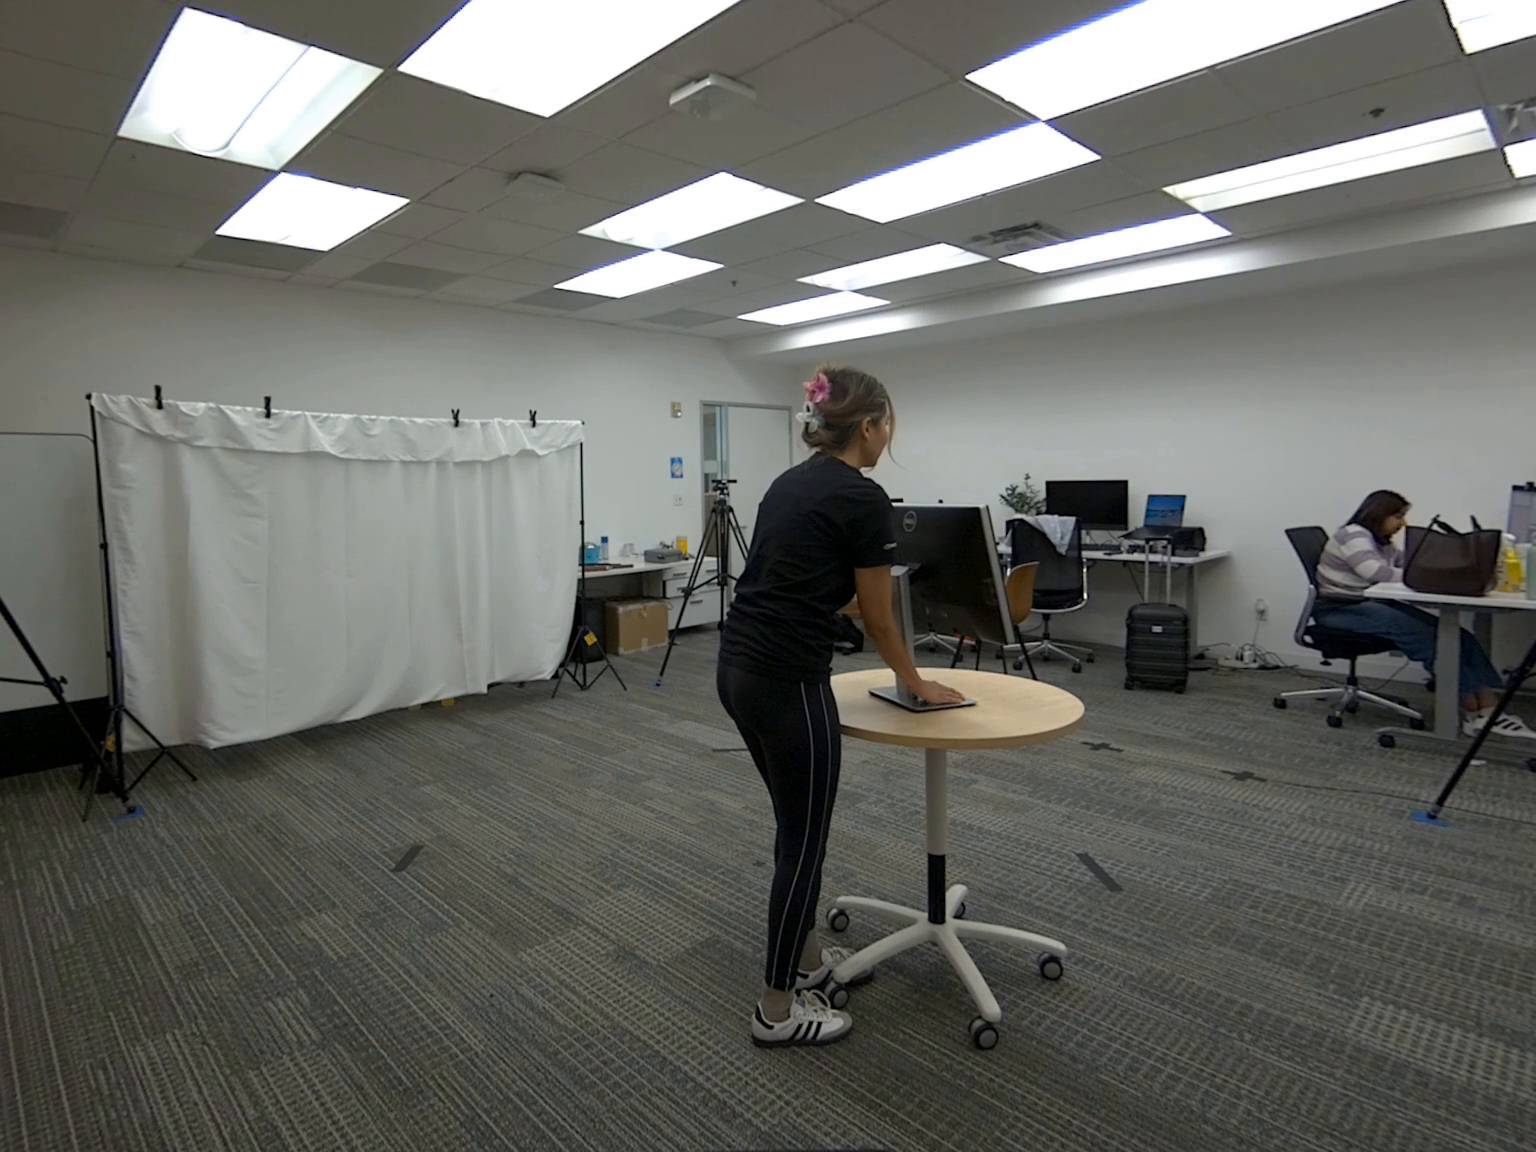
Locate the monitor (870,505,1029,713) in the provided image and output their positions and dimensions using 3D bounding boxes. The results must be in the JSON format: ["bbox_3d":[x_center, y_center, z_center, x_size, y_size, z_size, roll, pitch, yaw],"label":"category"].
[{"bbox_3d":[0.420,0.077,2.350,0.183,0.521,0.552,-3,4,-27],"label":"monitor"}]
